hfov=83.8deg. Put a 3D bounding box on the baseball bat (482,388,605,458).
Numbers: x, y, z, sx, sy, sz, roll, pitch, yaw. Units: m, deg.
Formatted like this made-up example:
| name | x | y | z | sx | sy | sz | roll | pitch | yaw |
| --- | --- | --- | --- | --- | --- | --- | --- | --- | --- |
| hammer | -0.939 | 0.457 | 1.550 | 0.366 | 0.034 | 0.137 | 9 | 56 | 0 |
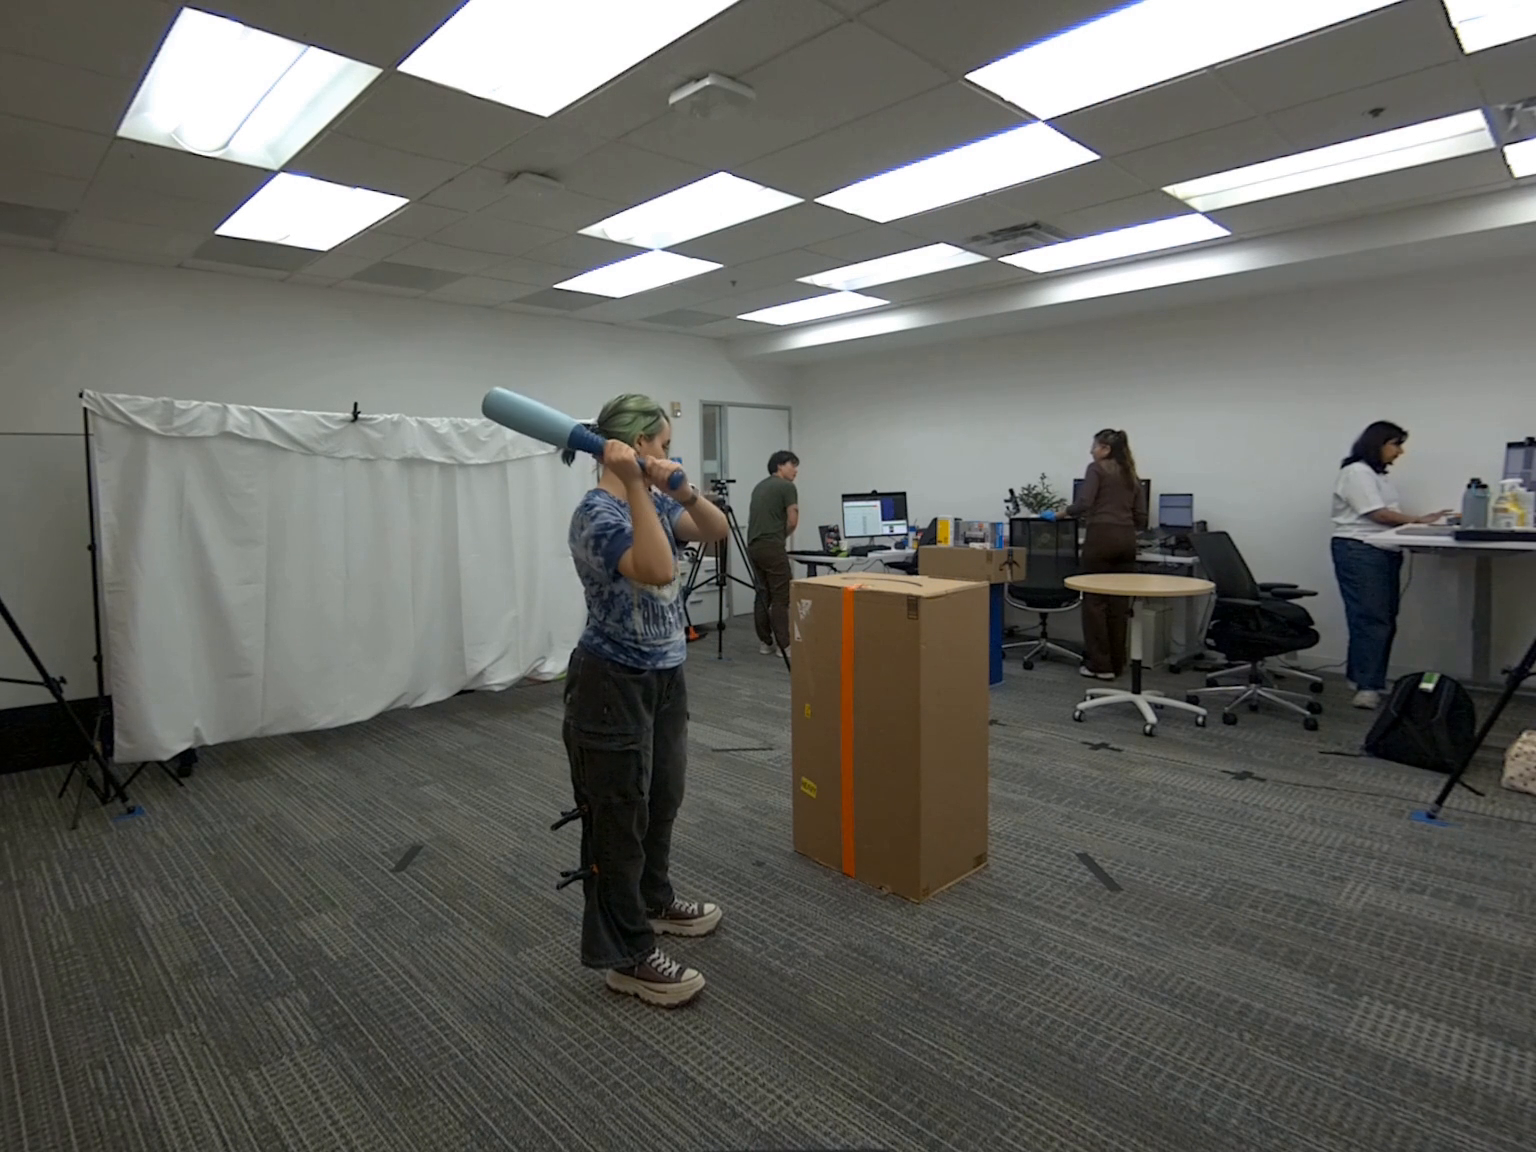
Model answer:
| name | x | y | z | sx | sy | sz | roll | pitch | yaw |
| --- | --- | --- | --- | --- | --- | --- | --- | --- | --- |
| baseball bat | -0.443 | -0.323 | 2.091 | 0.550 | 0.089 | 0.088 | 24 | 9 | 10 |
